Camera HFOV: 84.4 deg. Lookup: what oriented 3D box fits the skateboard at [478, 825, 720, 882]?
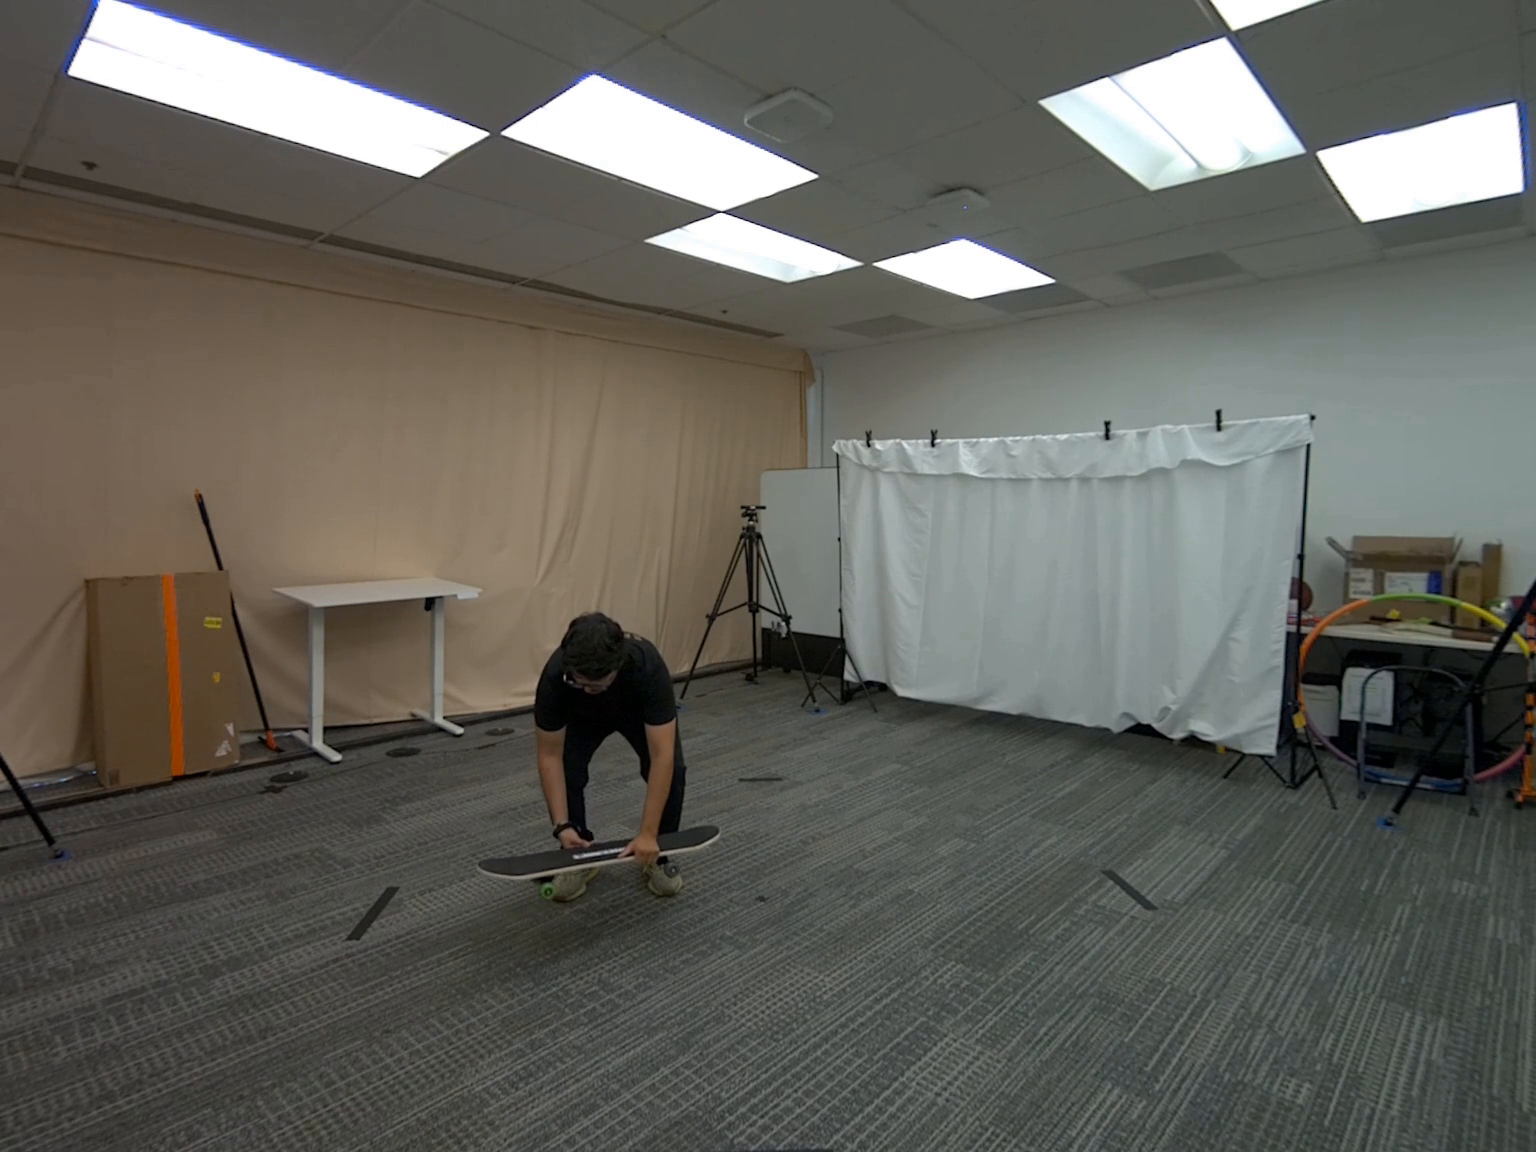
[{"bbox_3d":[-0.521,0.915,2.691,0.769,0.110,0.197,-1,0,-20],"label":"skateboard"}]
